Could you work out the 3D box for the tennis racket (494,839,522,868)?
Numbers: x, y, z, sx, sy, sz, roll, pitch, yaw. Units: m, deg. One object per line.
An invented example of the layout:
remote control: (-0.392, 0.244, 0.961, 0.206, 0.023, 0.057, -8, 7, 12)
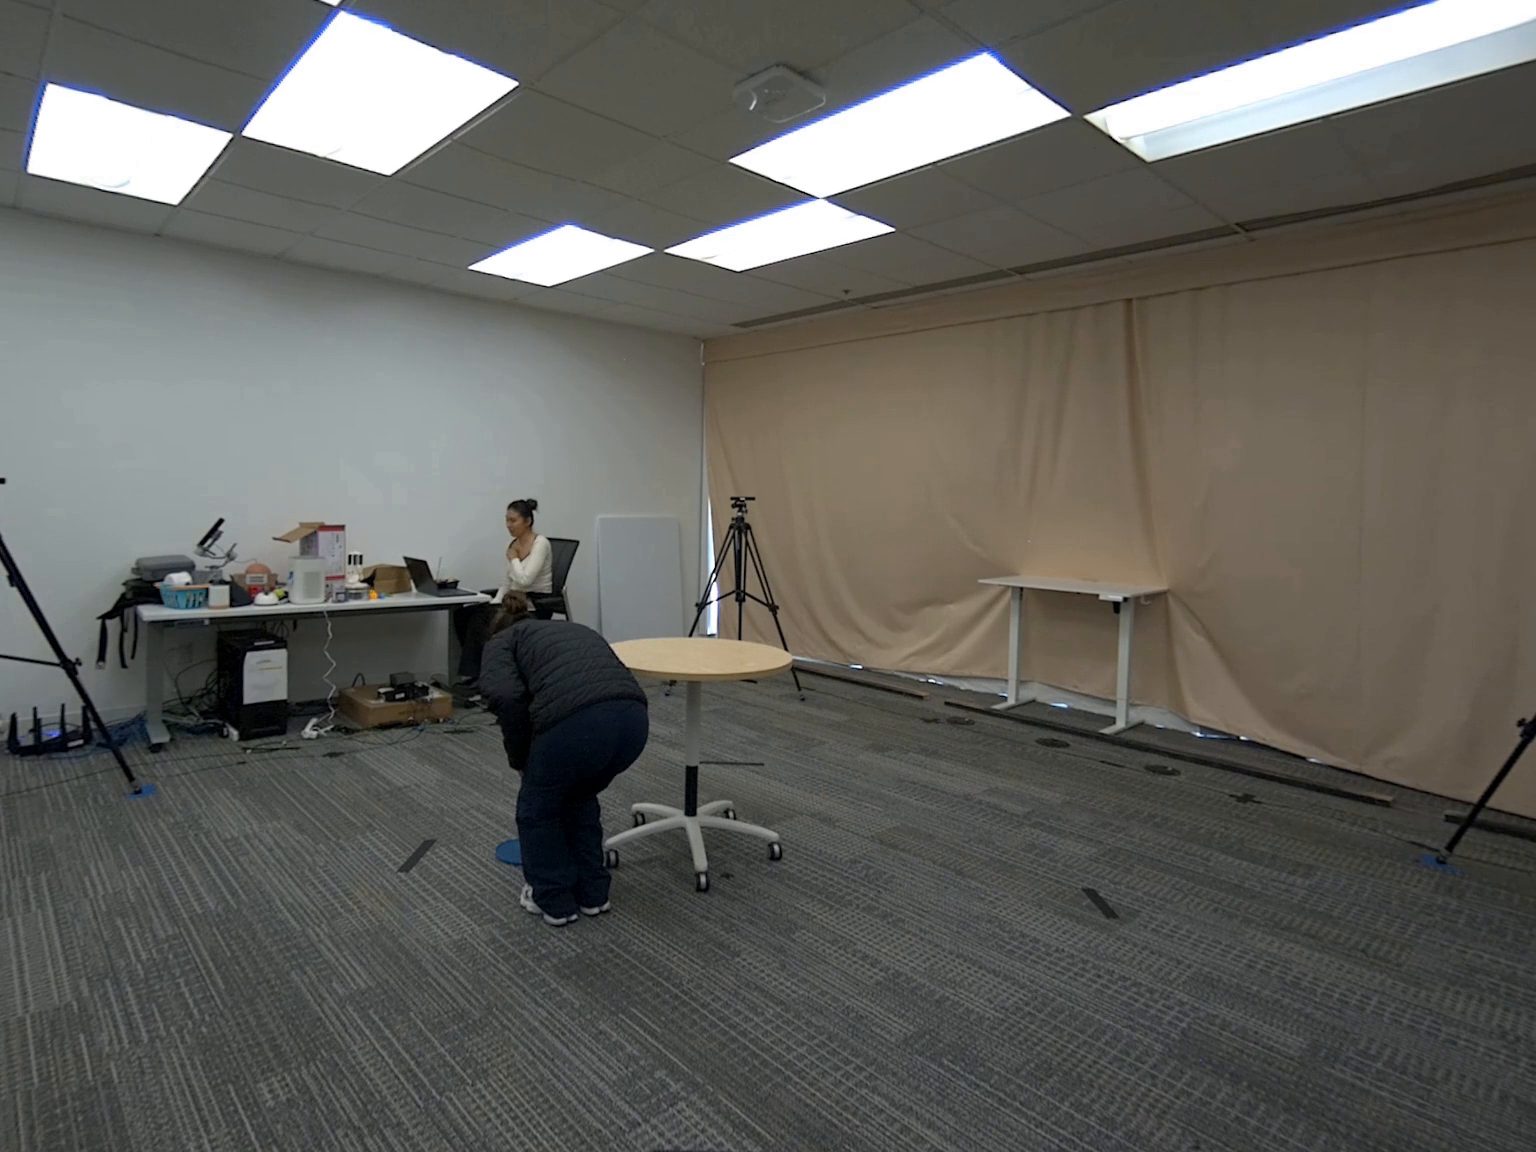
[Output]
tennis racket: (-0.879, 1.071, 3.175, 0.209, 0.032, 0.444, -3, 5, -43)
